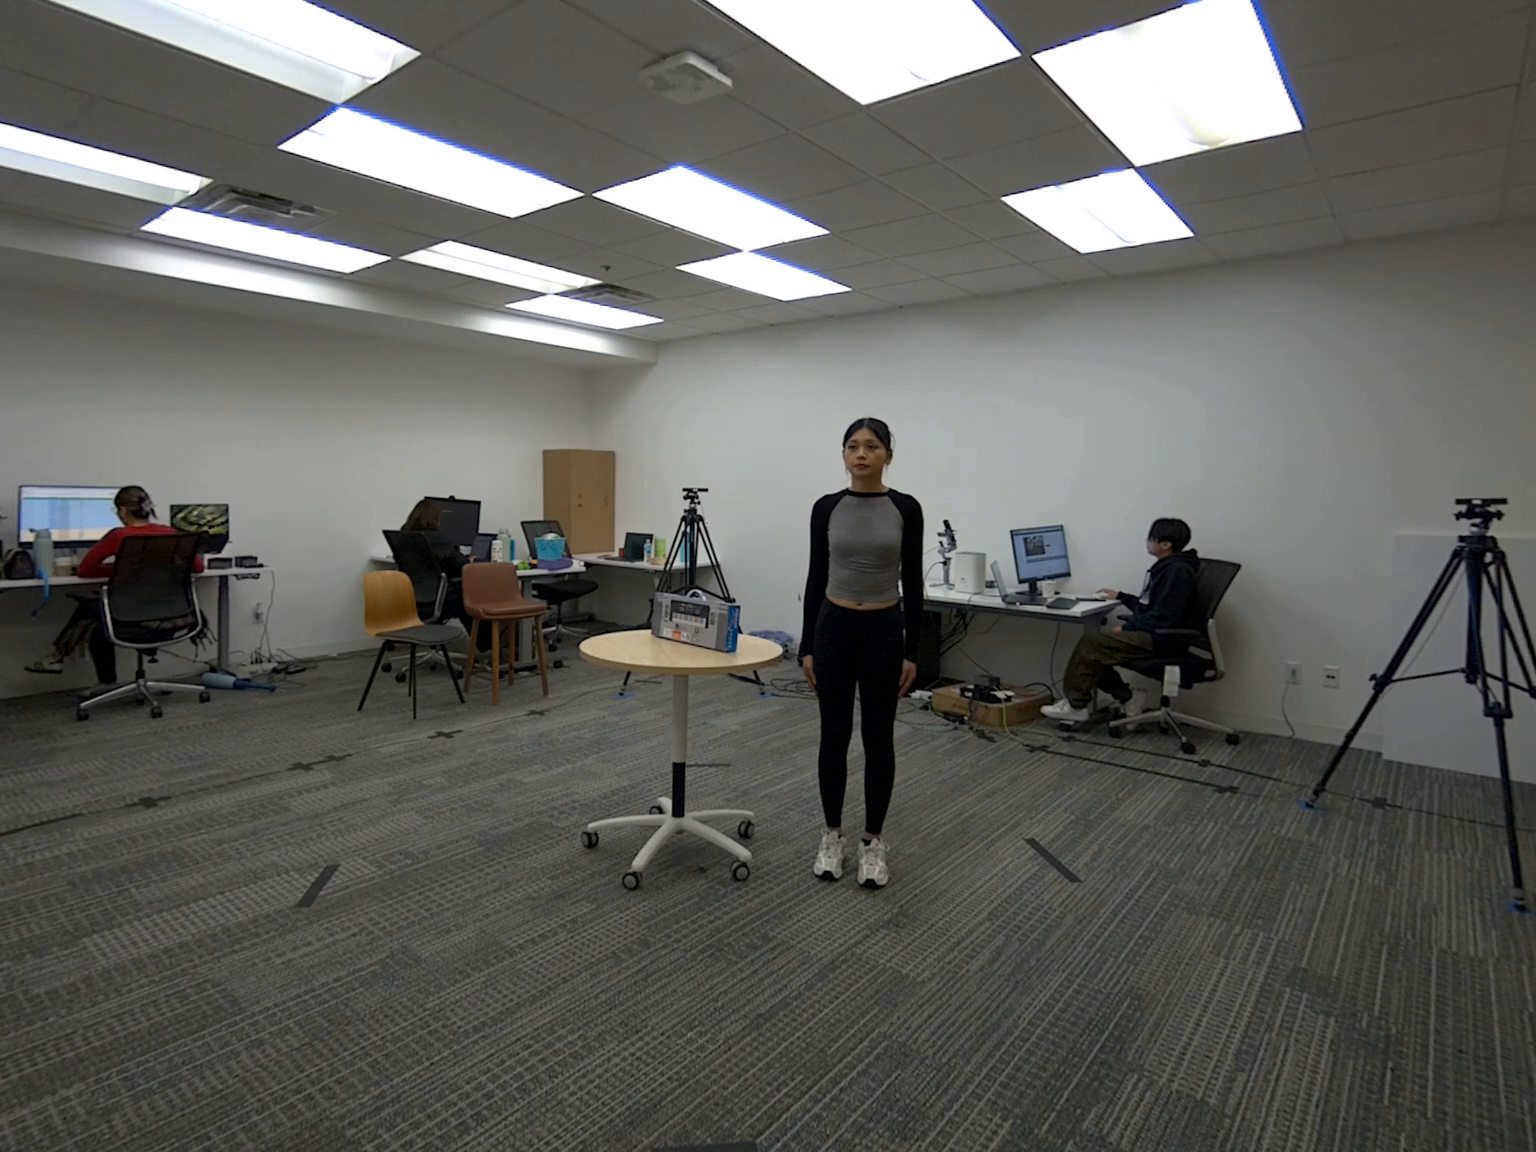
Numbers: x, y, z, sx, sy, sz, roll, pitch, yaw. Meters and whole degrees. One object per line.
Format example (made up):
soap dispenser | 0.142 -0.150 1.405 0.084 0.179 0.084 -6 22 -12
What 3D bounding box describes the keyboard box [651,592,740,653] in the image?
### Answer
keyboard box | -0.300 0.172 3.281 0.057 0.176 0.452 5 2 -45
